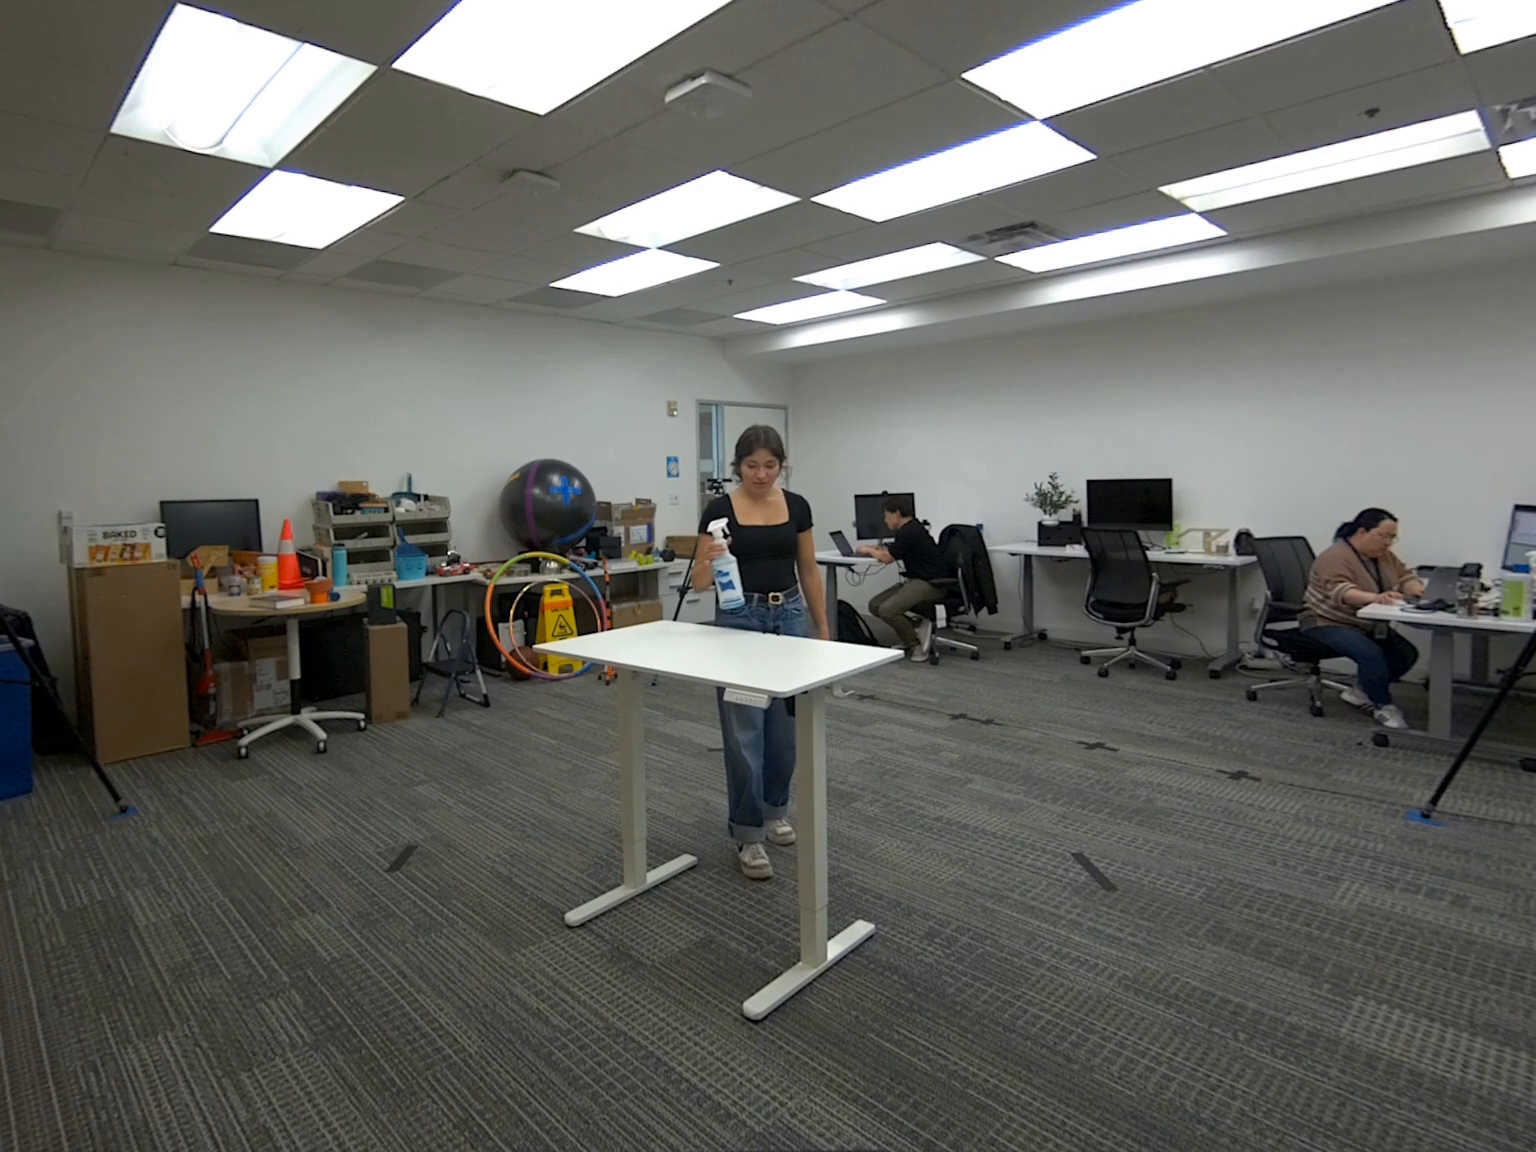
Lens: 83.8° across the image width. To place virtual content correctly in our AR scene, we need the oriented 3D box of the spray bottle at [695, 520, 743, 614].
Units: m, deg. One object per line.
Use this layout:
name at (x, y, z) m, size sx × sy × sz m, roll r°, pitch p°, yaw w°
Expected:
spray bottle at (-0.165, -0.031, 2.863) m, size 0.089 × 0.297 × 0.088 m, roll -10°, pitch 2°, yaw -17°
